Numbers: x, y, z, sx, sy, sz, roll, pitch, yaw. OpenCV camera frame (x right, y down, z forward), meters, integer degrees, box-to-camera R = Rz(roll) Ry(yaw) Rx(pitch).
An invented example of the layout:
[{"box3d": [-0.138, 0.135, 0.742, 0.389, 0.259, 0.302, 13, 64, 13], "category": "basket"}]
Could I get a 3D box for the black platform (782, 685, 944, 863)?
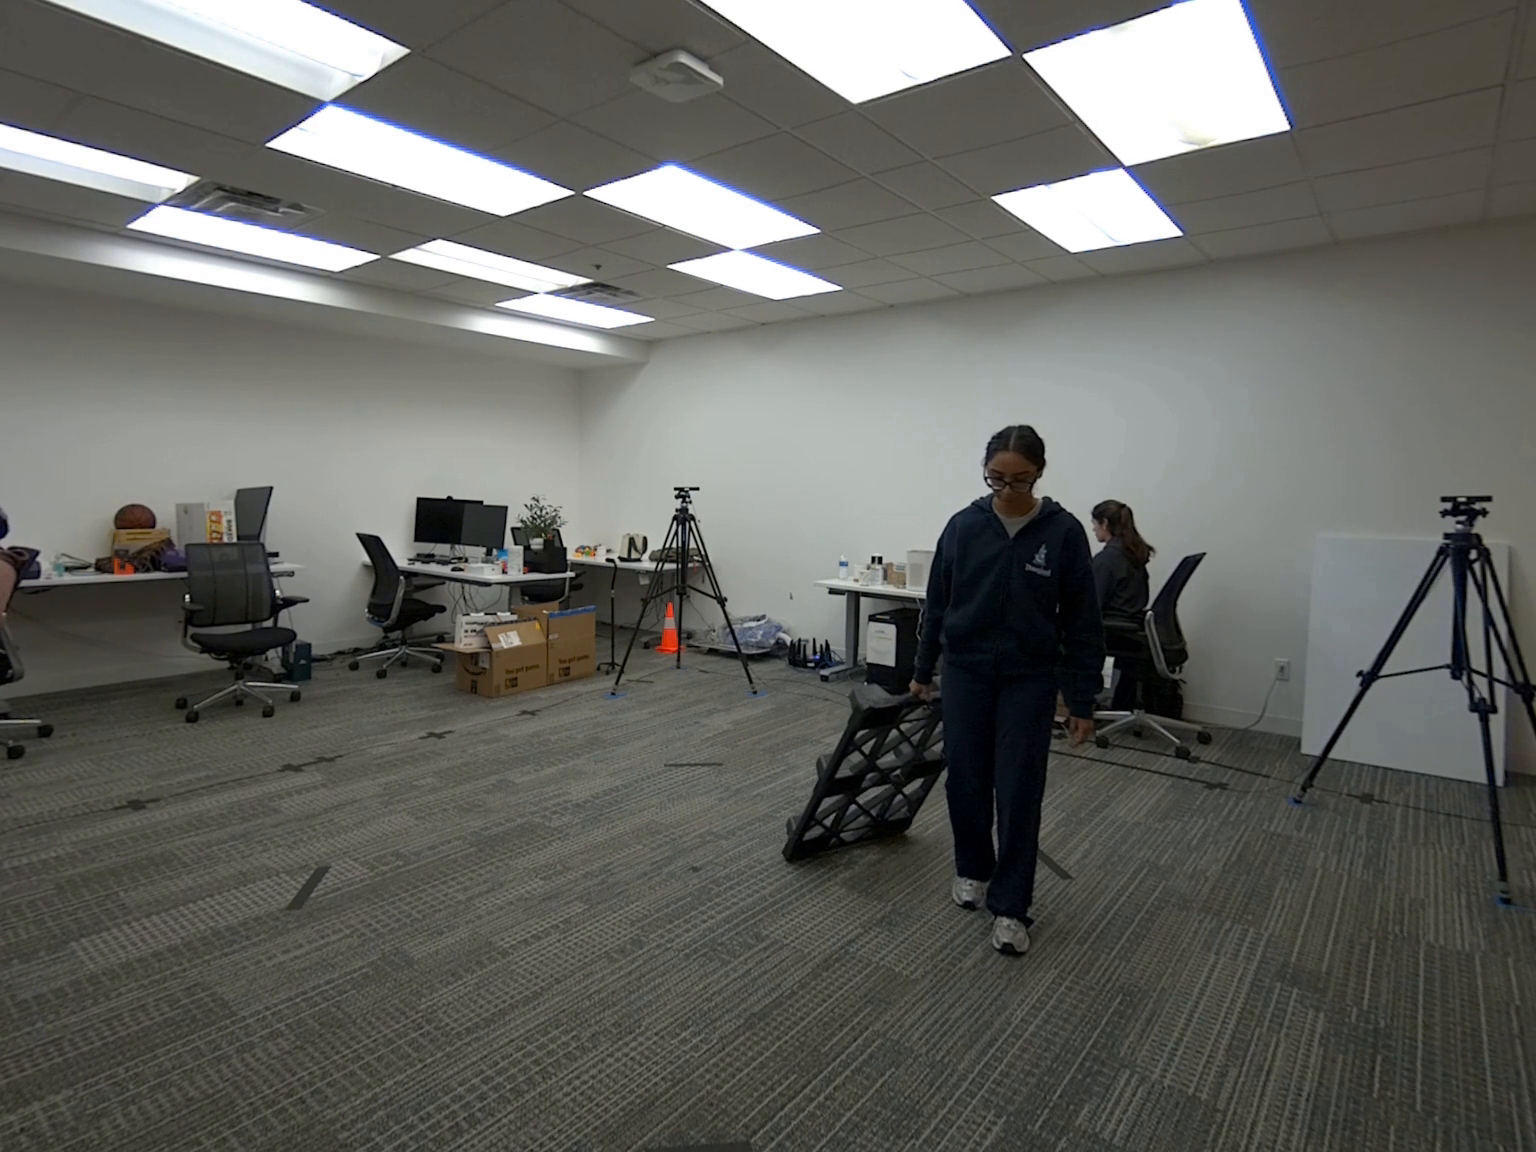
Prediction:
[{"box3d": [0.392, 0.704, 3.163, 0.589, 0.794, 0.149, -1, 37, -31], "category": "black platform"}]
